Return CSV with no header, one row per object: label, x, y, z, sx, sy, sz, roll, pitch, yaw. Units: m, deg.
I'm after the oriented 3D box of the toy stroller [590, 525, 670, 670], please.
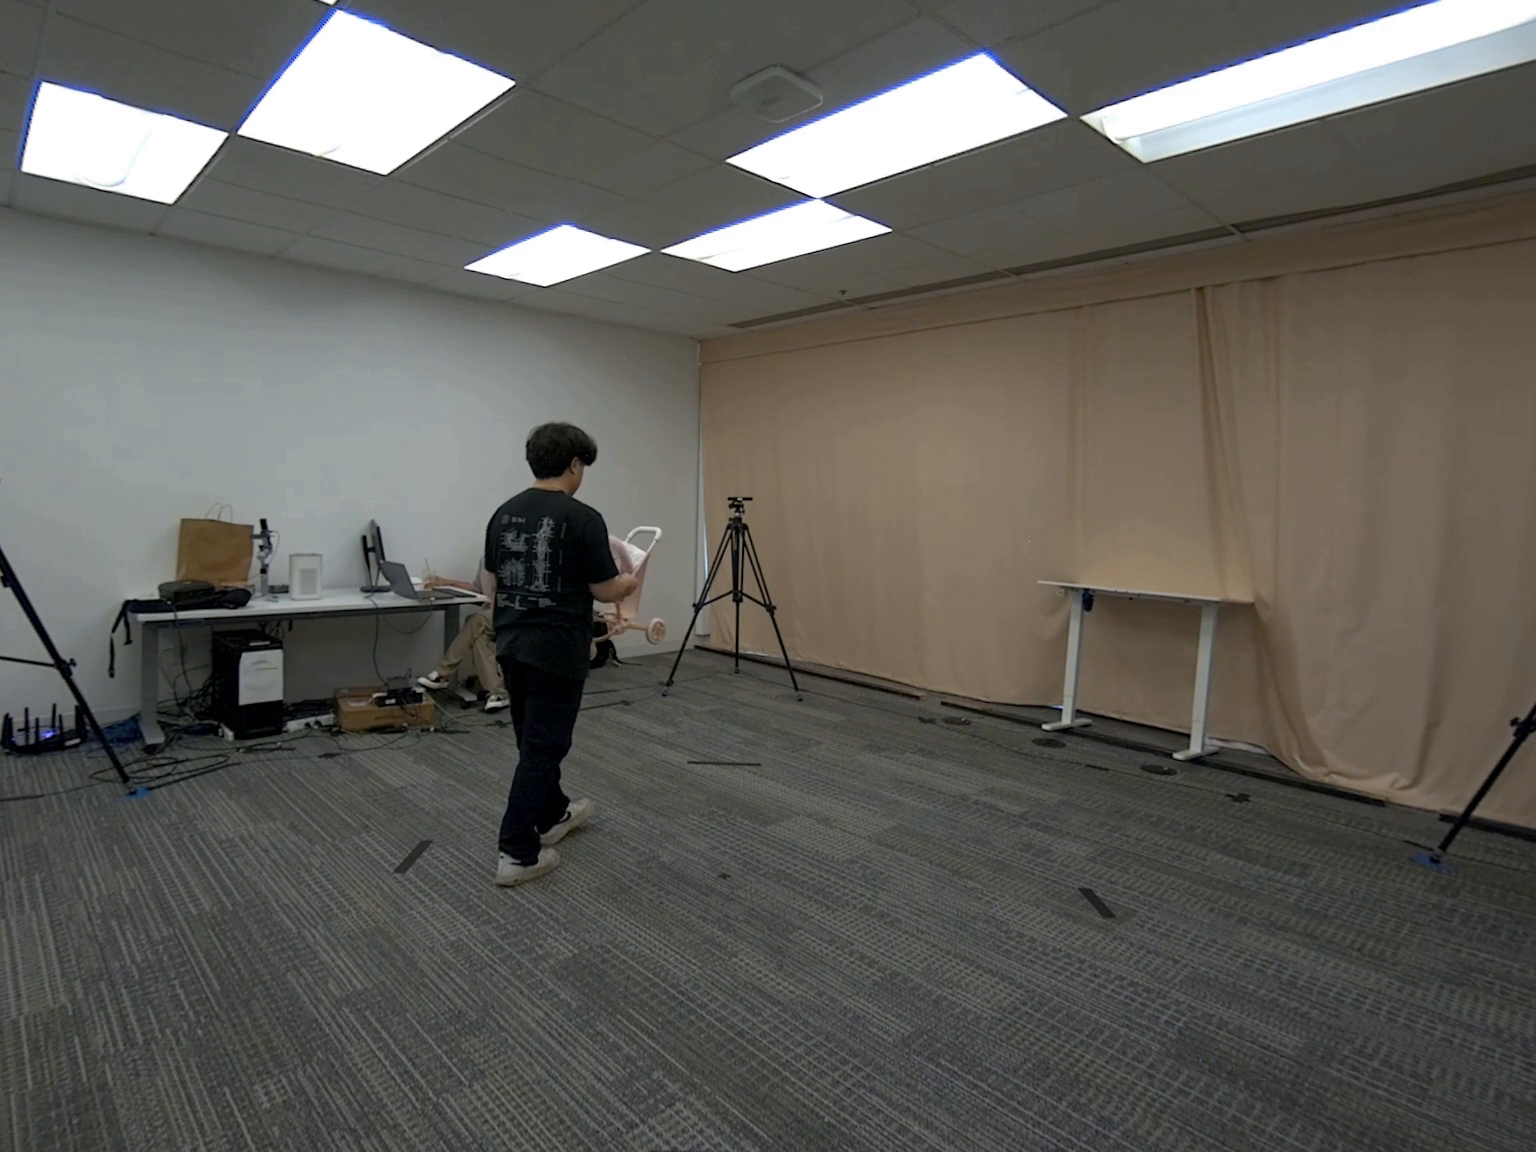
toy stroller,-0.639,0.070,3.488,0.333,0.533,0.289,-2,7,-41
